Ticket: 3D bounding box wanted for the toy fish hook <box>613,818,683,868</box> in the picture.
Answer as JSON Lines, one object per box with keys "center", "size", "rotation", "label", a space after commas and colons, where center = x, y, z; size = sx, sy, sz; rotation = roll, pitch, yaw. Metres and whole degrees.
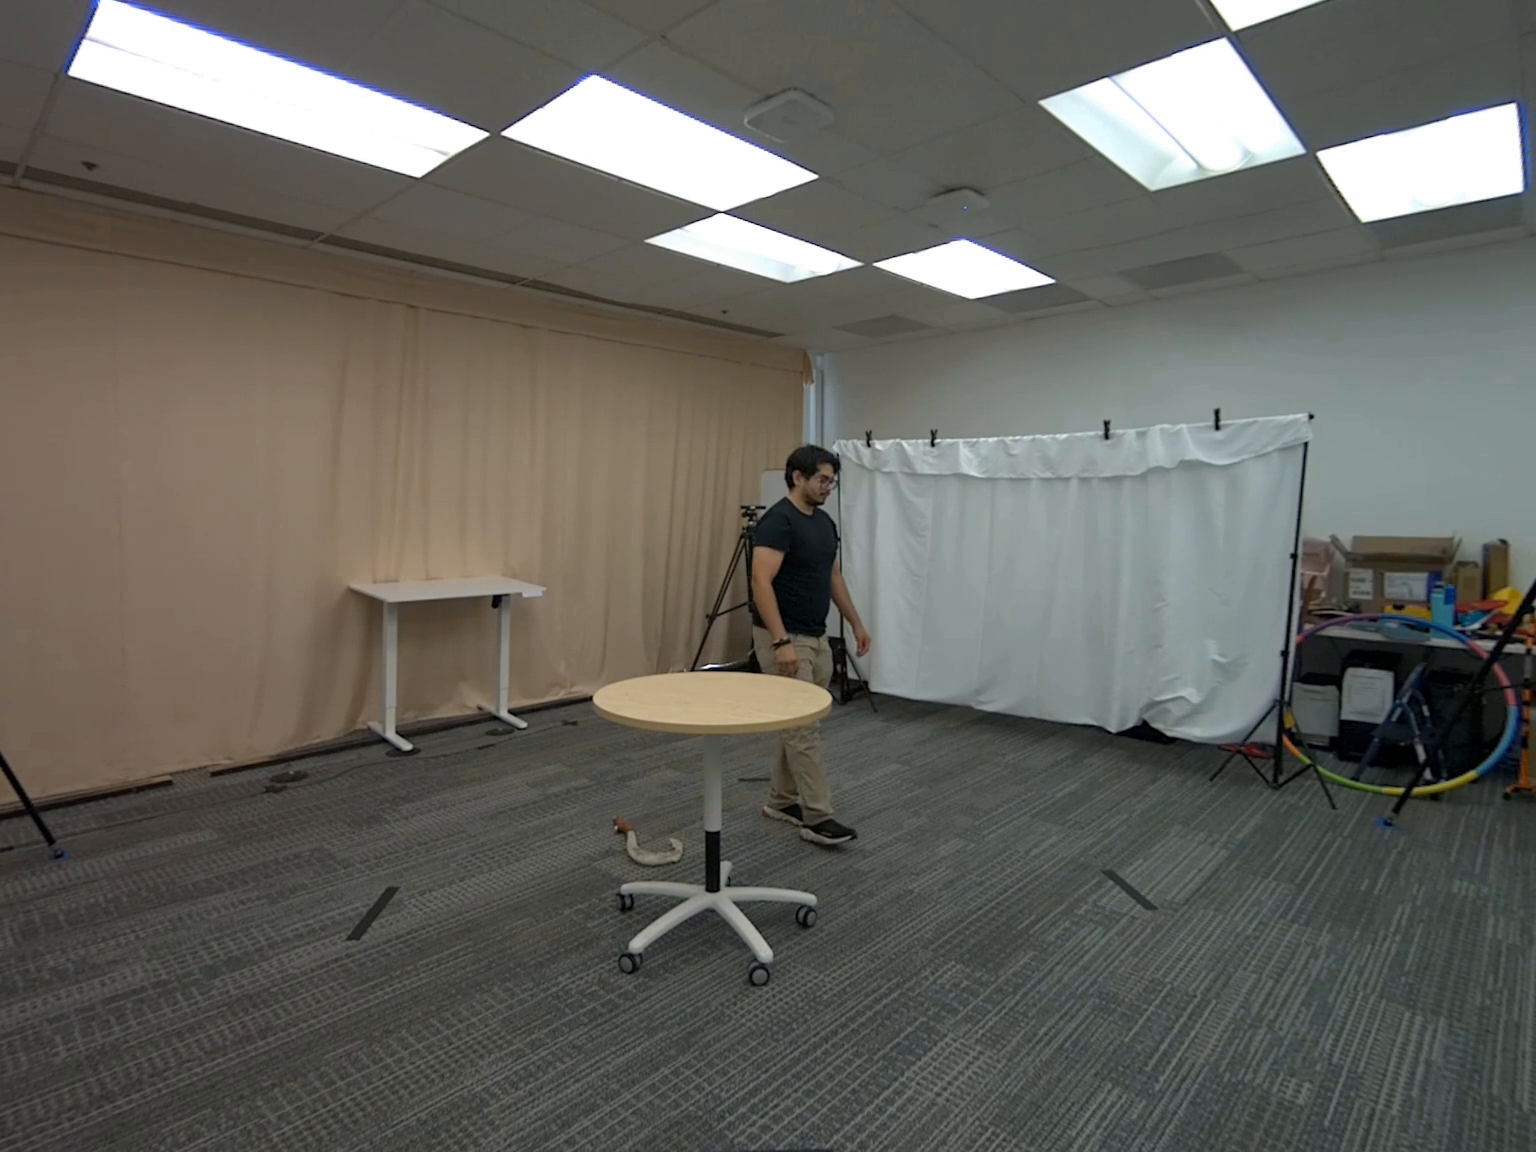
{"center": [-0.506, 1.091, 3.492], "size": [0.219, 0.048, 0.520], "rotation": [5, 2, -26], "label": "toy fish hook"}
